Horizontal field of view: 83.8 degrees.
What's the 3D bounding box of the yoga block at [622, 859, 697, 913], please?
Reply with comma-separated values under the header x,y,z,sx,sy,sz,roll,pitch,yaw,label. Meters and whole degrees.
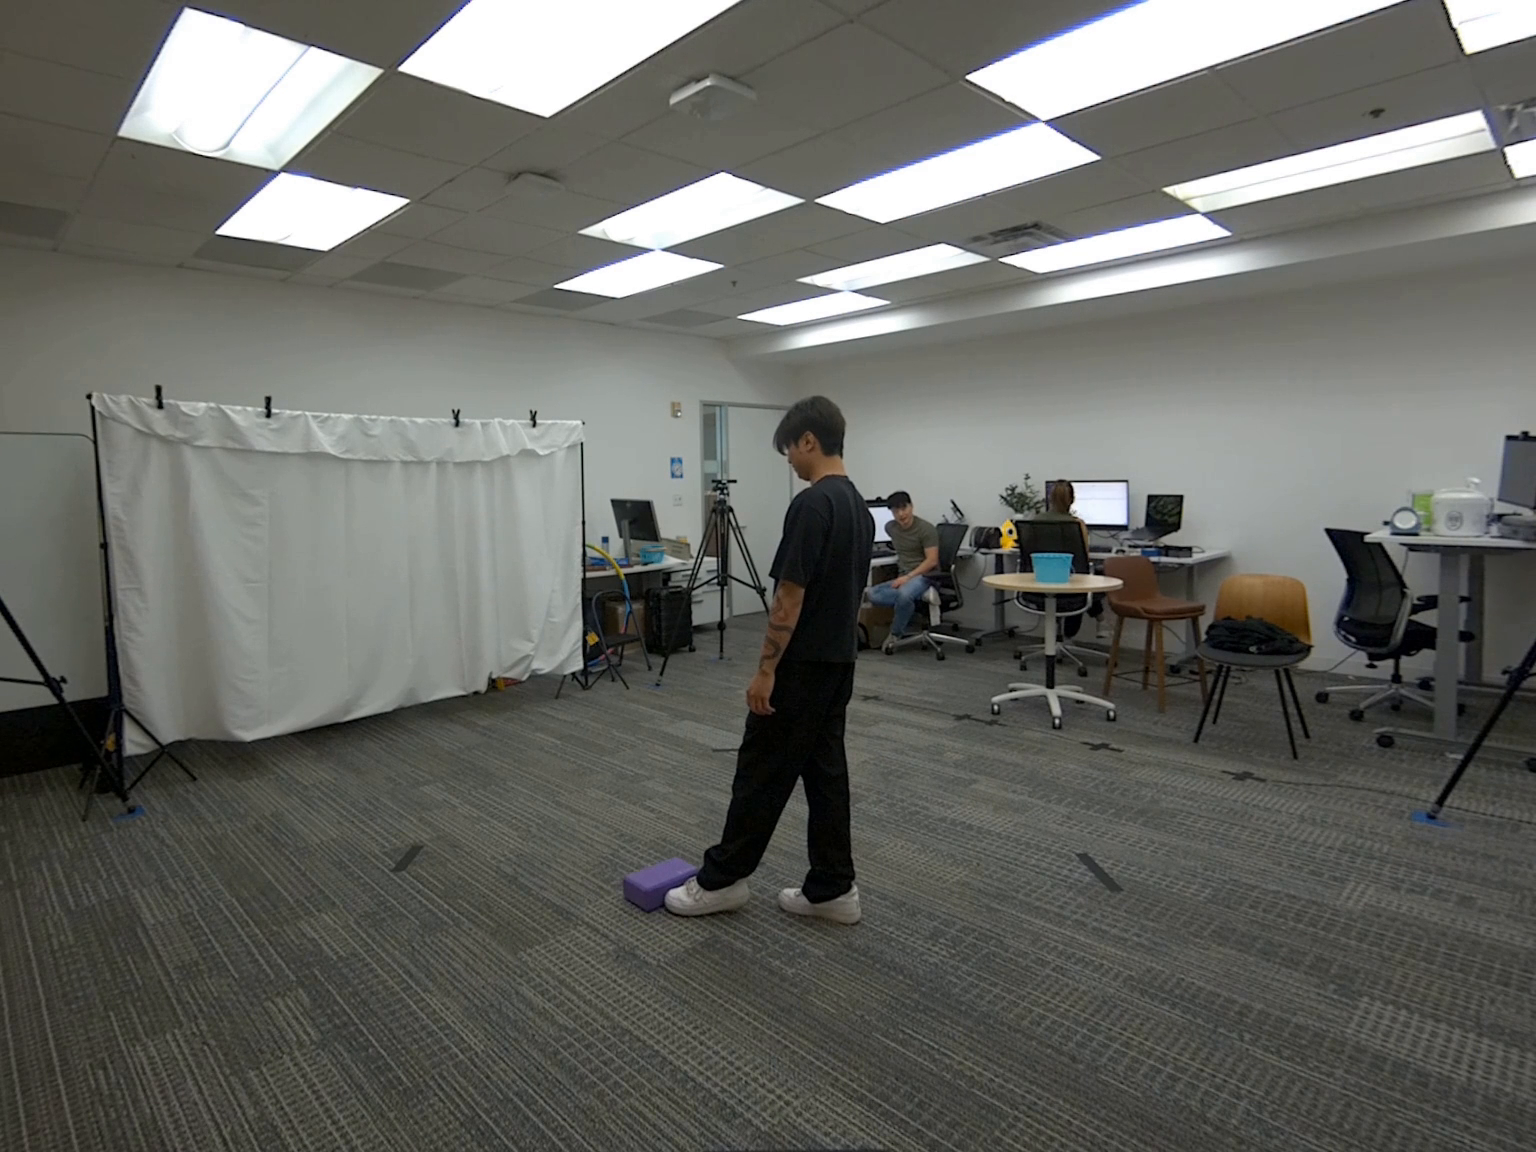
x,y,z,sx,sy,sz,roll,pitch,yaw,label
-0.353,1.035,2.884,0.223,0.076,0.153,-7,6,-42,yoga block
